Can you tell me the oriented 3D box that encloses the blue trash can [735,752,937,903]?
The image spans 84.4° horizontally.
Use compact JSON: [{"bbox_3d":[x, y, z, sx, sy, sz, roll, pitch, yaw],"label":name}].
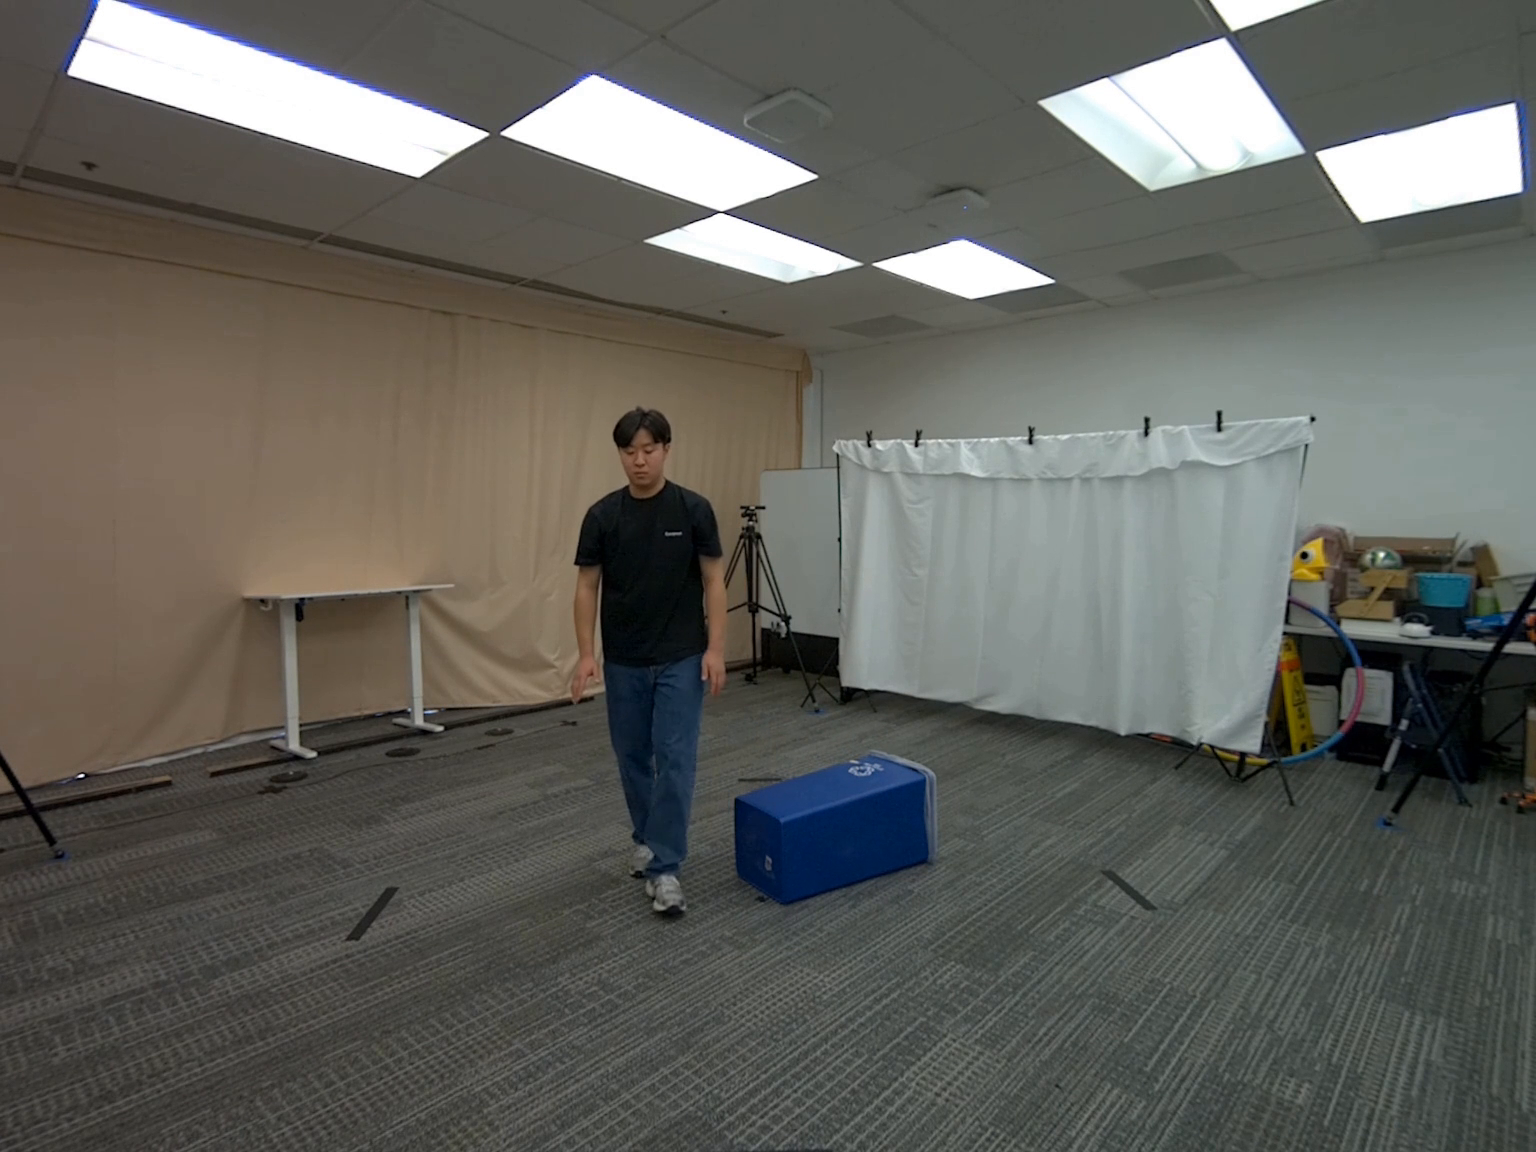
[{"bbox_3d":[0.261,0.958,3.217,0.694,0.377,0.386,-7,7,-33],"label":"blue trash can"}]
